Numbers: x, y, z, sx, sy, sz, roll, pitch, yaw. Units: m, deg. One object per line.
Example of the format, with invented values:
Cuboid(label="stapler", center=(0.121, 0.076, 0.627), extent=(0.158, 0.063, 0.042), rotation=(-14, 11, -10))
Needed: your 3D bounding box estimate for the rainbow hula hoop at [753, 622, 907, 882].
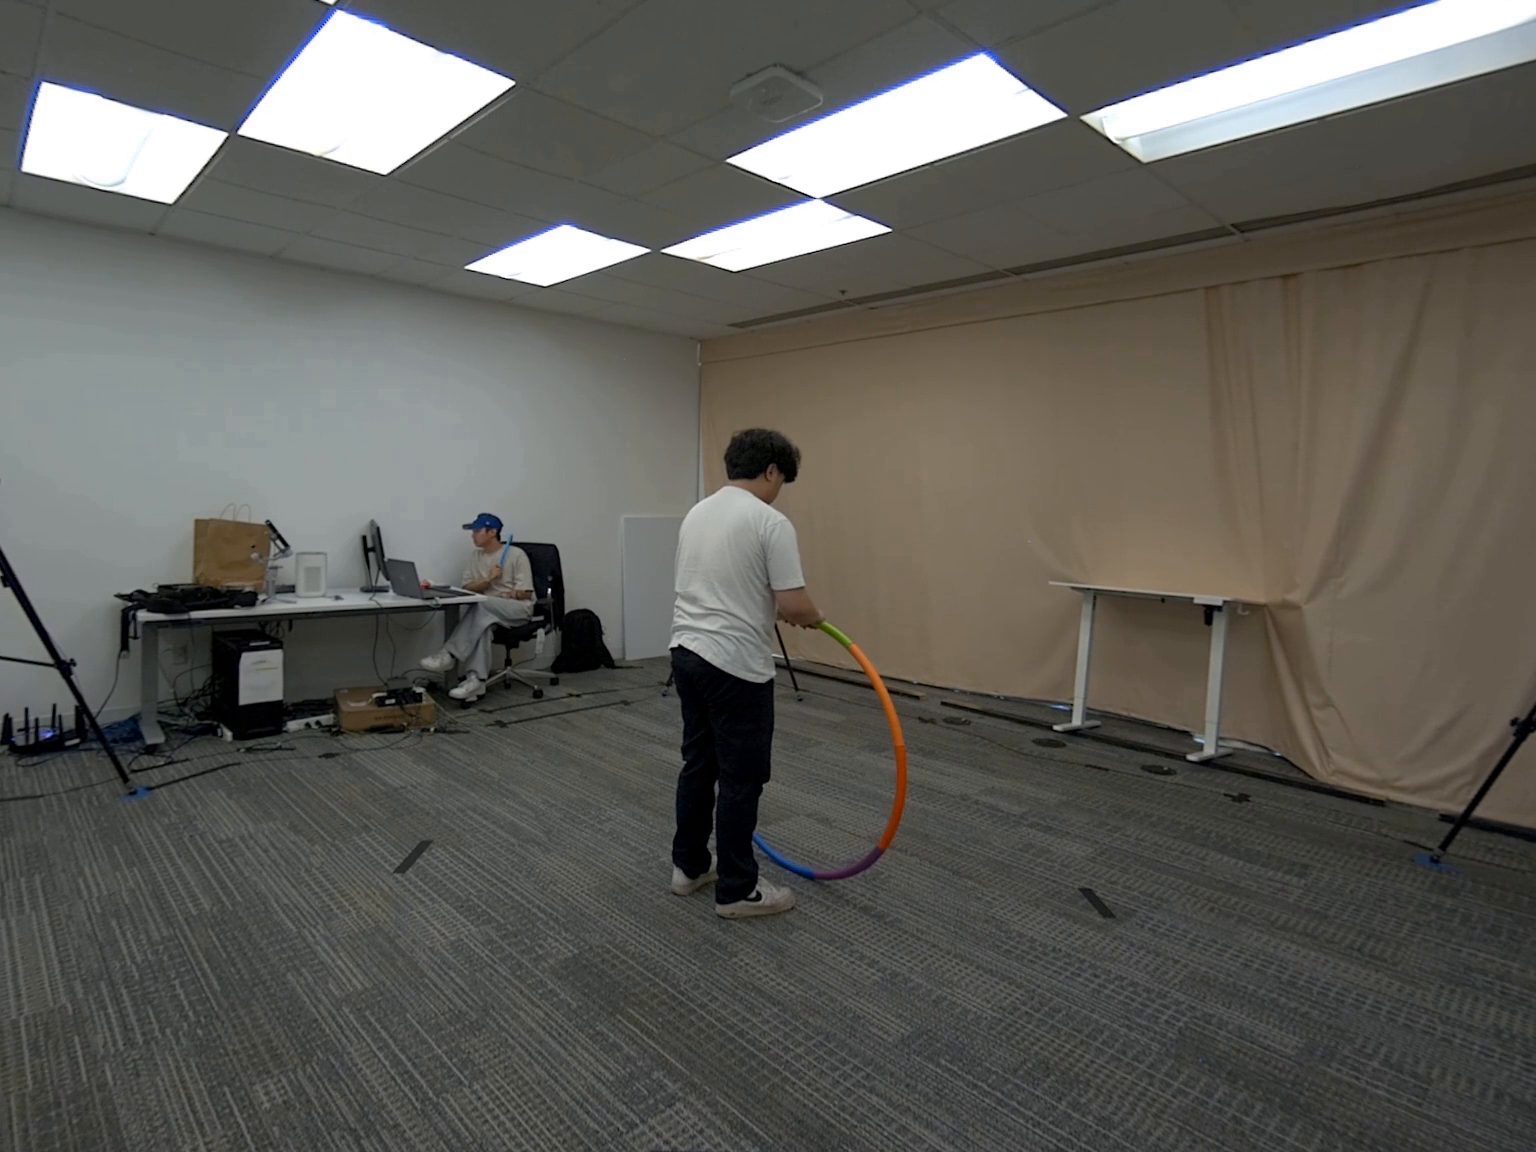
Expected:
Cuboid(label="rainbow hula hoop", center=(0.098, 0.625, 3.126), extent=(0.050, 0.982, 1.011), rotation=(-3, 6, -42))
